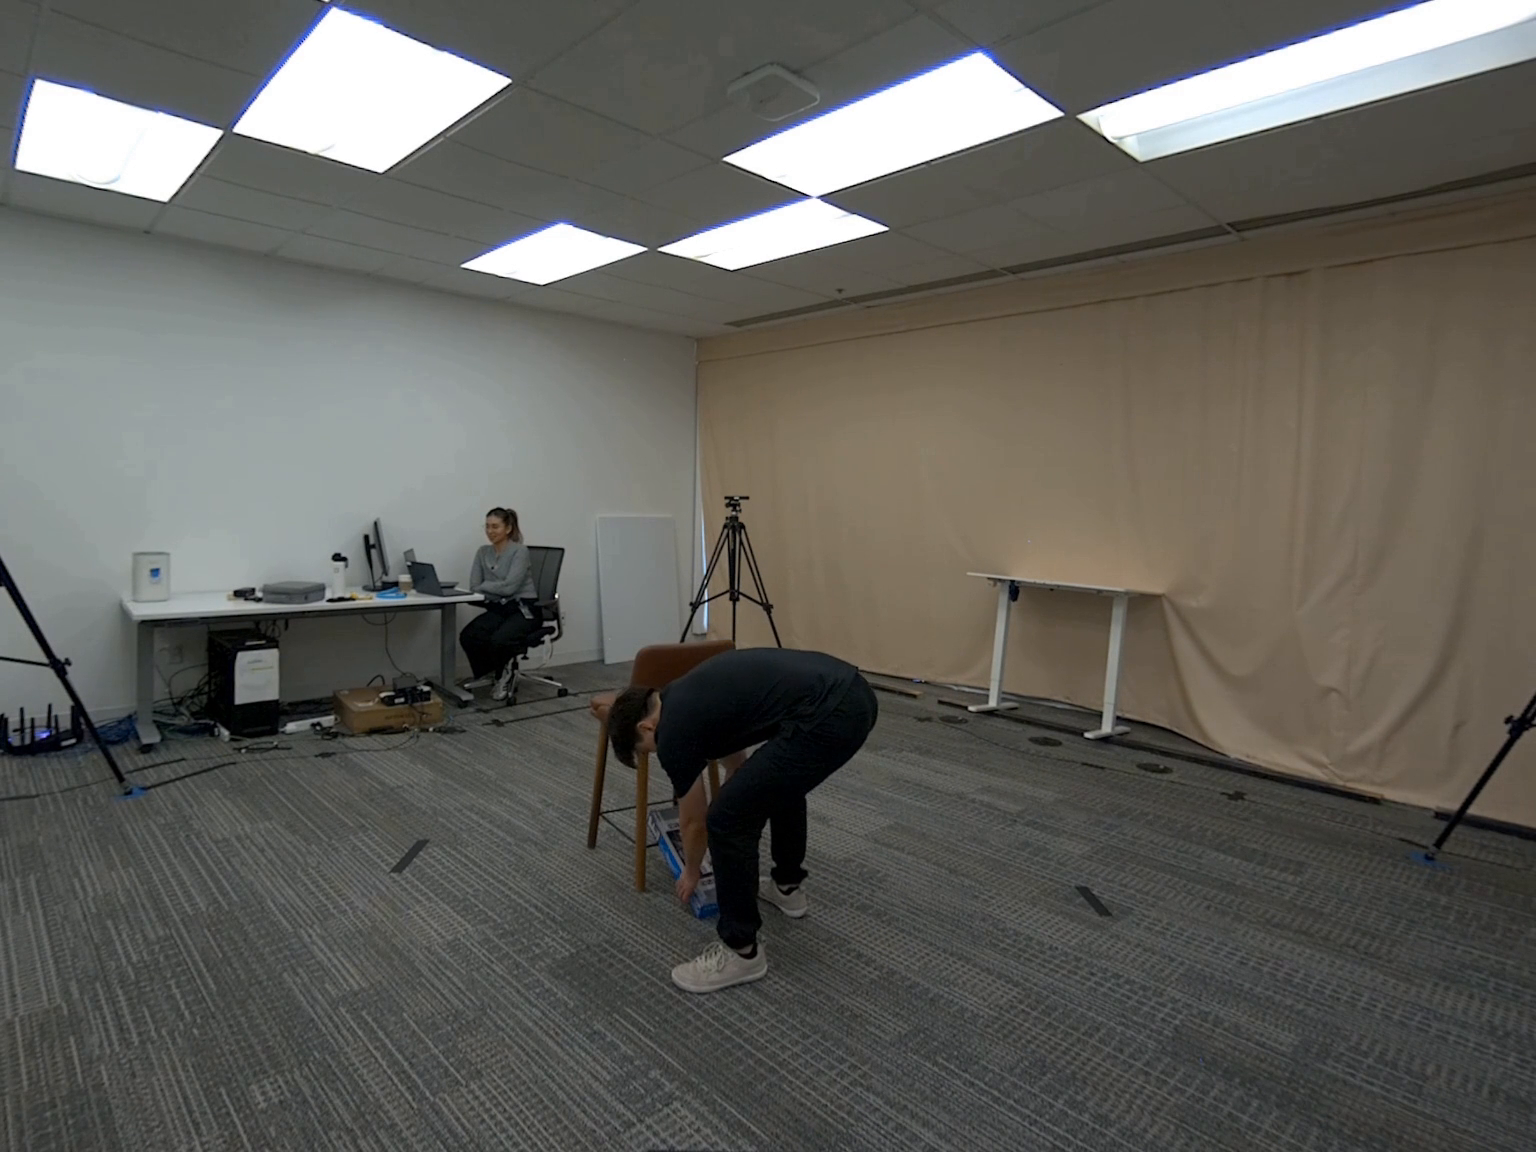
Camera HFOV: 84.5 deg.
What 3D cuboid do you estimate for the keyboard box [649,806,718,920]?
[{"bbox_3d":[-0.263,1.002,2.974,0.172,0.058,0.451,-2,31,-34],"label":"keyboard box"}]
